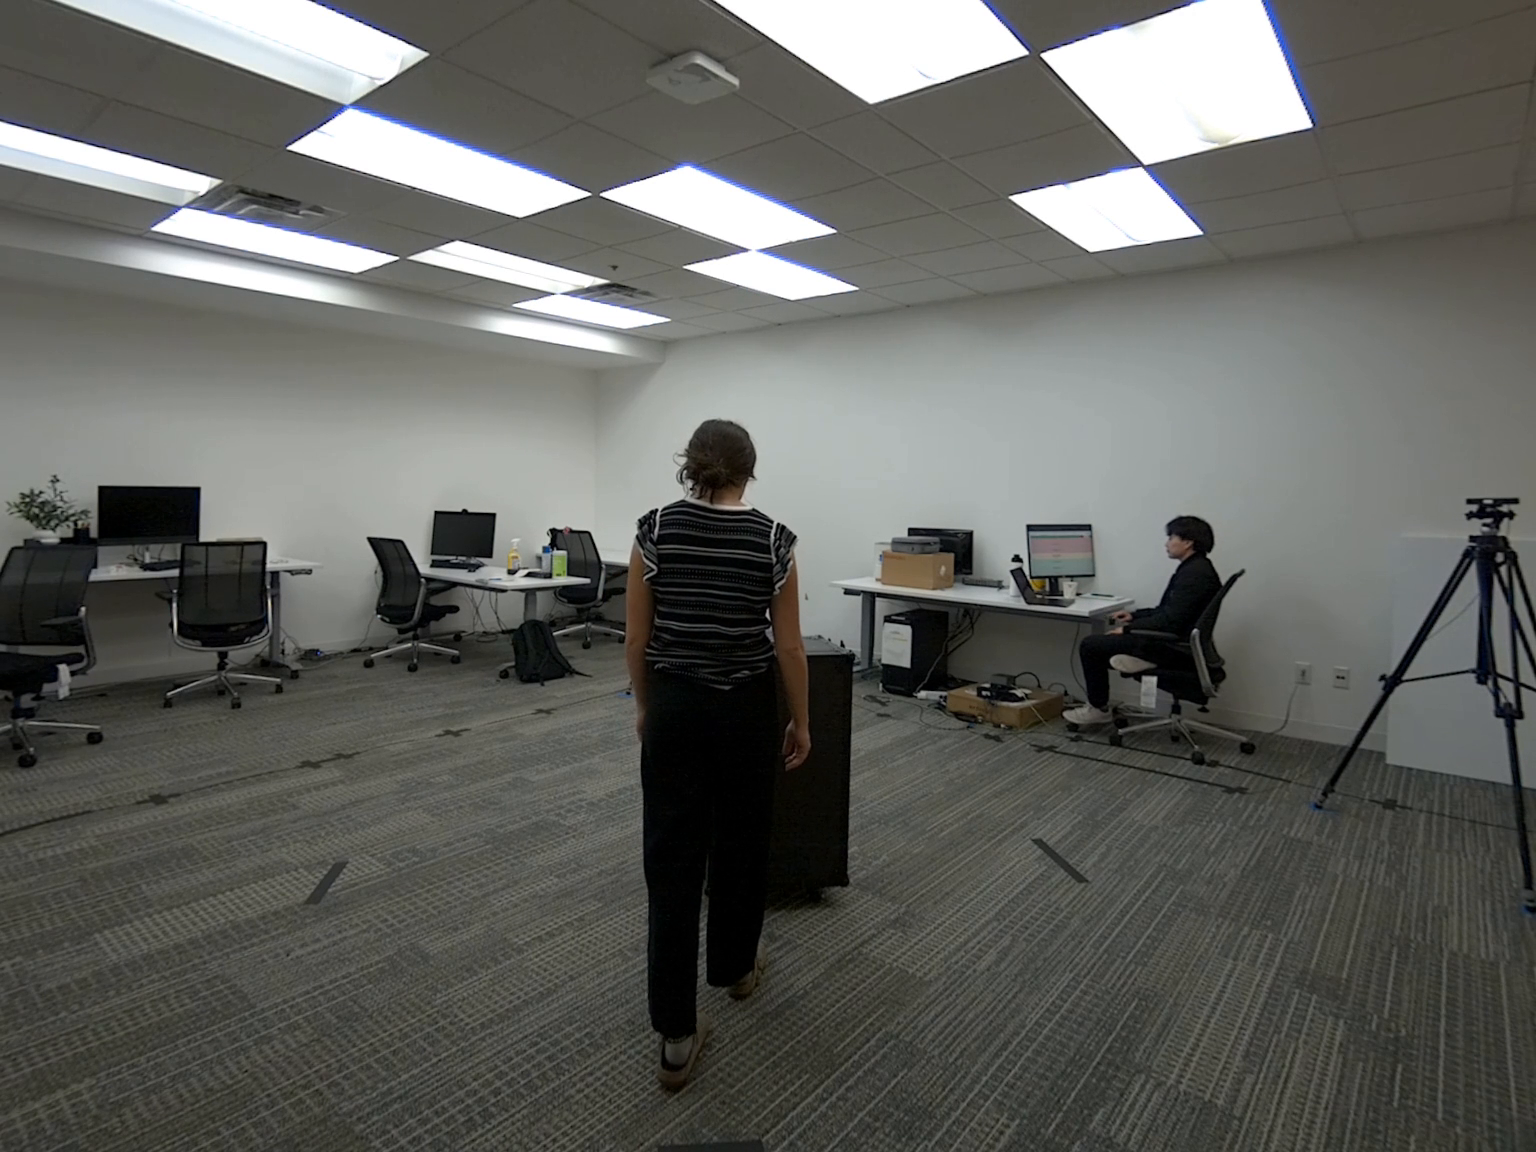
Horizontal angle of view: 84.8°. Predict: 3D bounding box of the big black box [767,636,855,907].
[{"bbox_3d":[-0.016,0.658,2.958,0.515,0.859,0.402,0,3,-12],"label":"big black box"}]
